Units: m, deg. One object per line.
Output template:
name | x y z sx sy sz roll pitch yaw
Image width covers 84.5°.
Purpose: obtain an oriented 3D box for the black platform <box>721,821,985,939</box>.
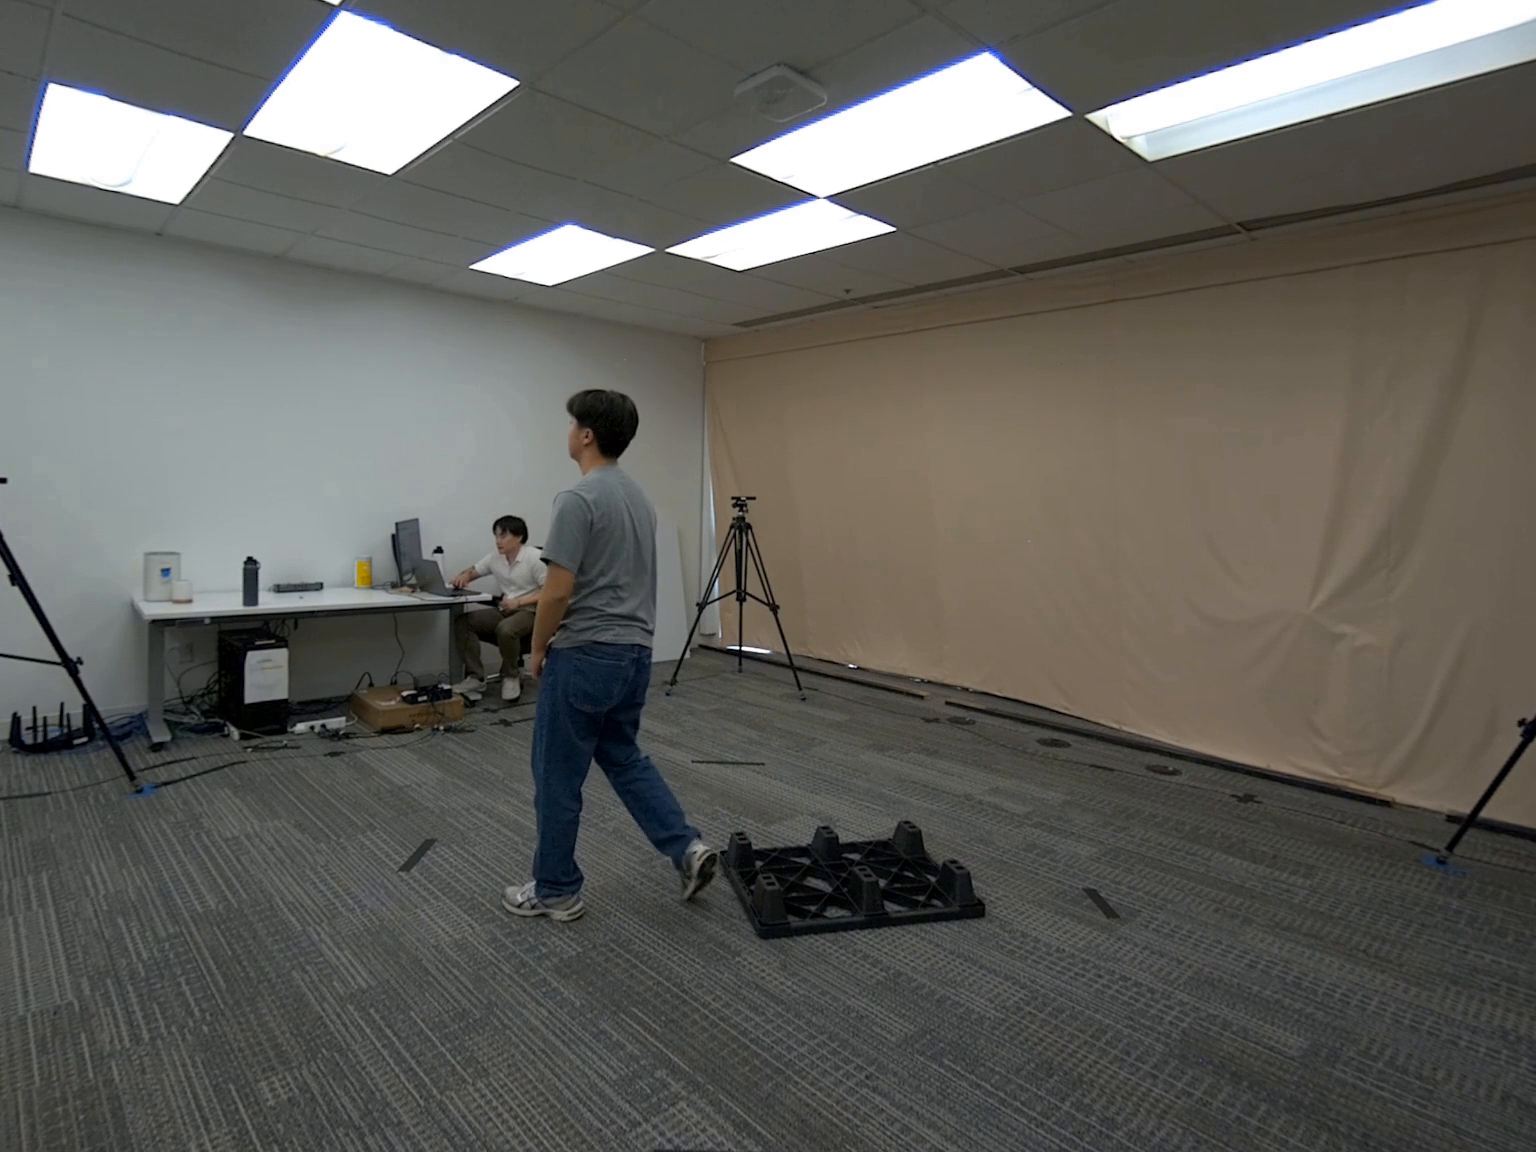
black platform | 0.266 1.055 3.025 0.796 0.143 0.614 0 5 -15
